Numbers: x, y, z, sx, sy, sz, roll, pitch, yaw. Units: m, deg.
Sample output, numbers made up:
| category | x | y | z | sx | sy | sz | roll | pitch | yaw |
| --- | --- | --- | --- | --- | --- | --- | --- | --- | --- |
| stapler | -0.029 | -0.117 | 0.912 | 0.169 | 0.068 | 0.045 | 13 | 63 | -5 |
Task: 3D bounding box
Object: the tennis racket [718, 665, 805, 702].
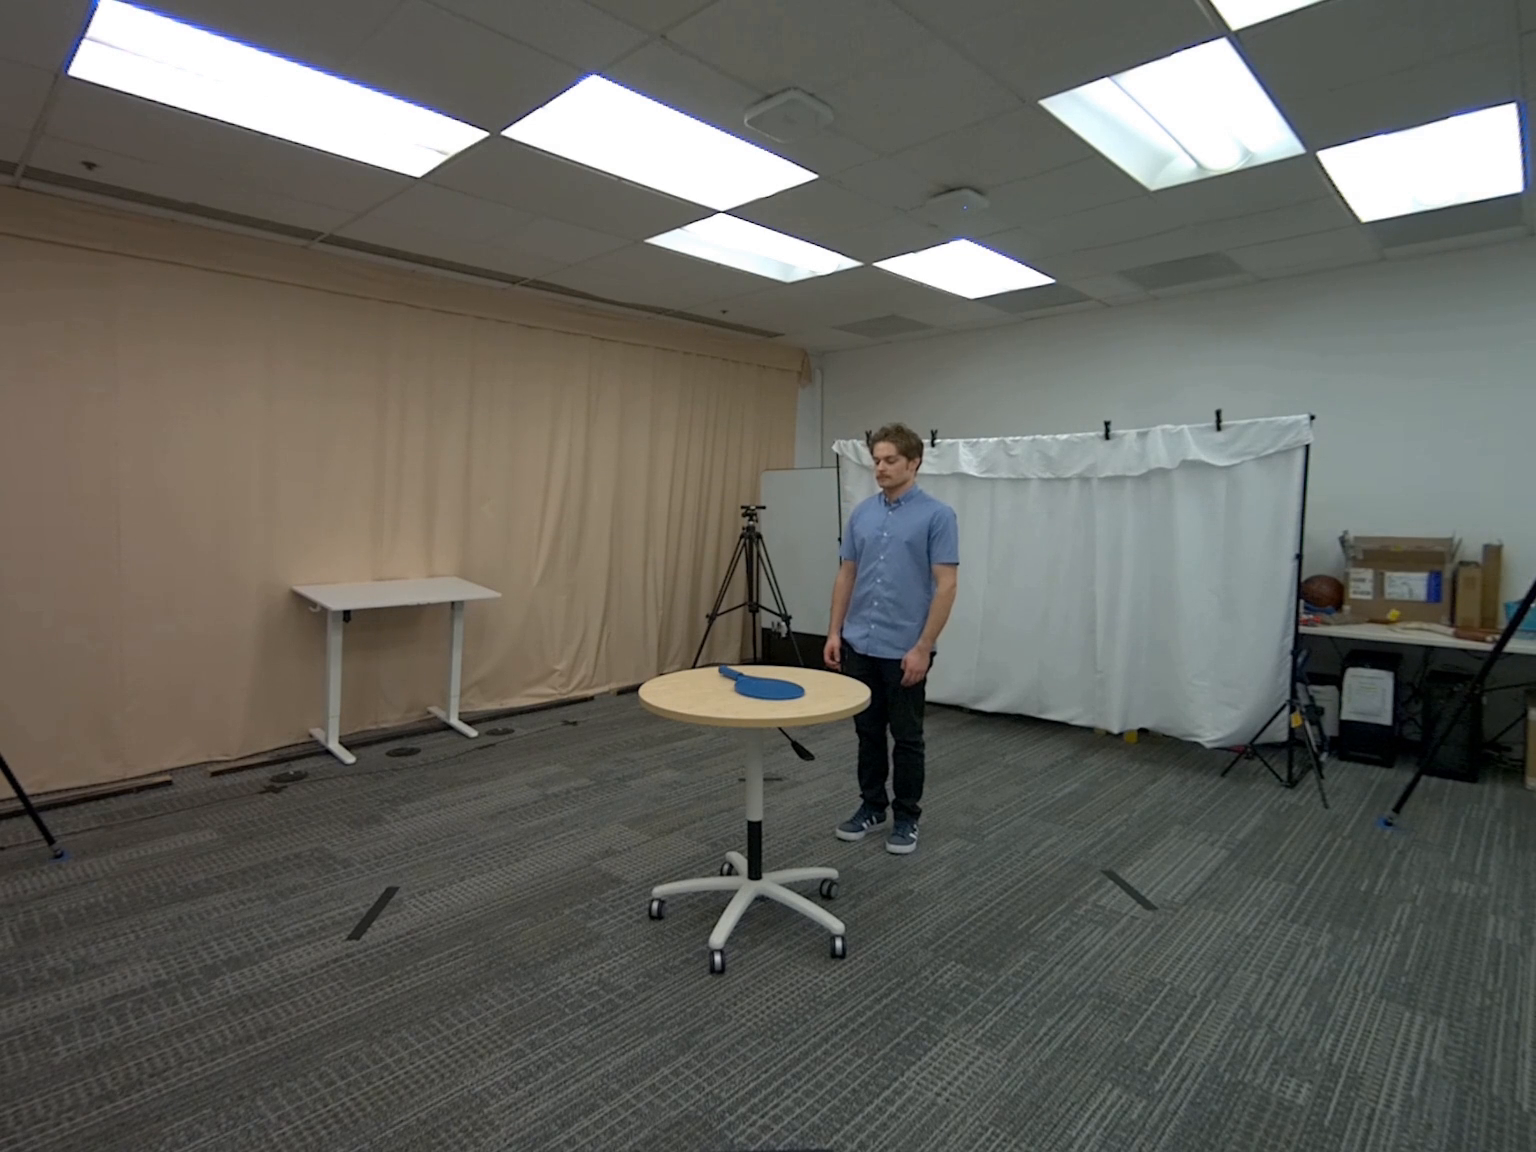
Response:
| category | x | y | z | sx | sy | sz | roll | pitch | yaw |
| --- | --- | --- | --- | --- | --- | --- | --- | --- | --- |
| tennis racket | -0.036 | 0.366 | 2.828 | 0.208 | 0.031 | 0.447 | -5 | 8 | -33 |
